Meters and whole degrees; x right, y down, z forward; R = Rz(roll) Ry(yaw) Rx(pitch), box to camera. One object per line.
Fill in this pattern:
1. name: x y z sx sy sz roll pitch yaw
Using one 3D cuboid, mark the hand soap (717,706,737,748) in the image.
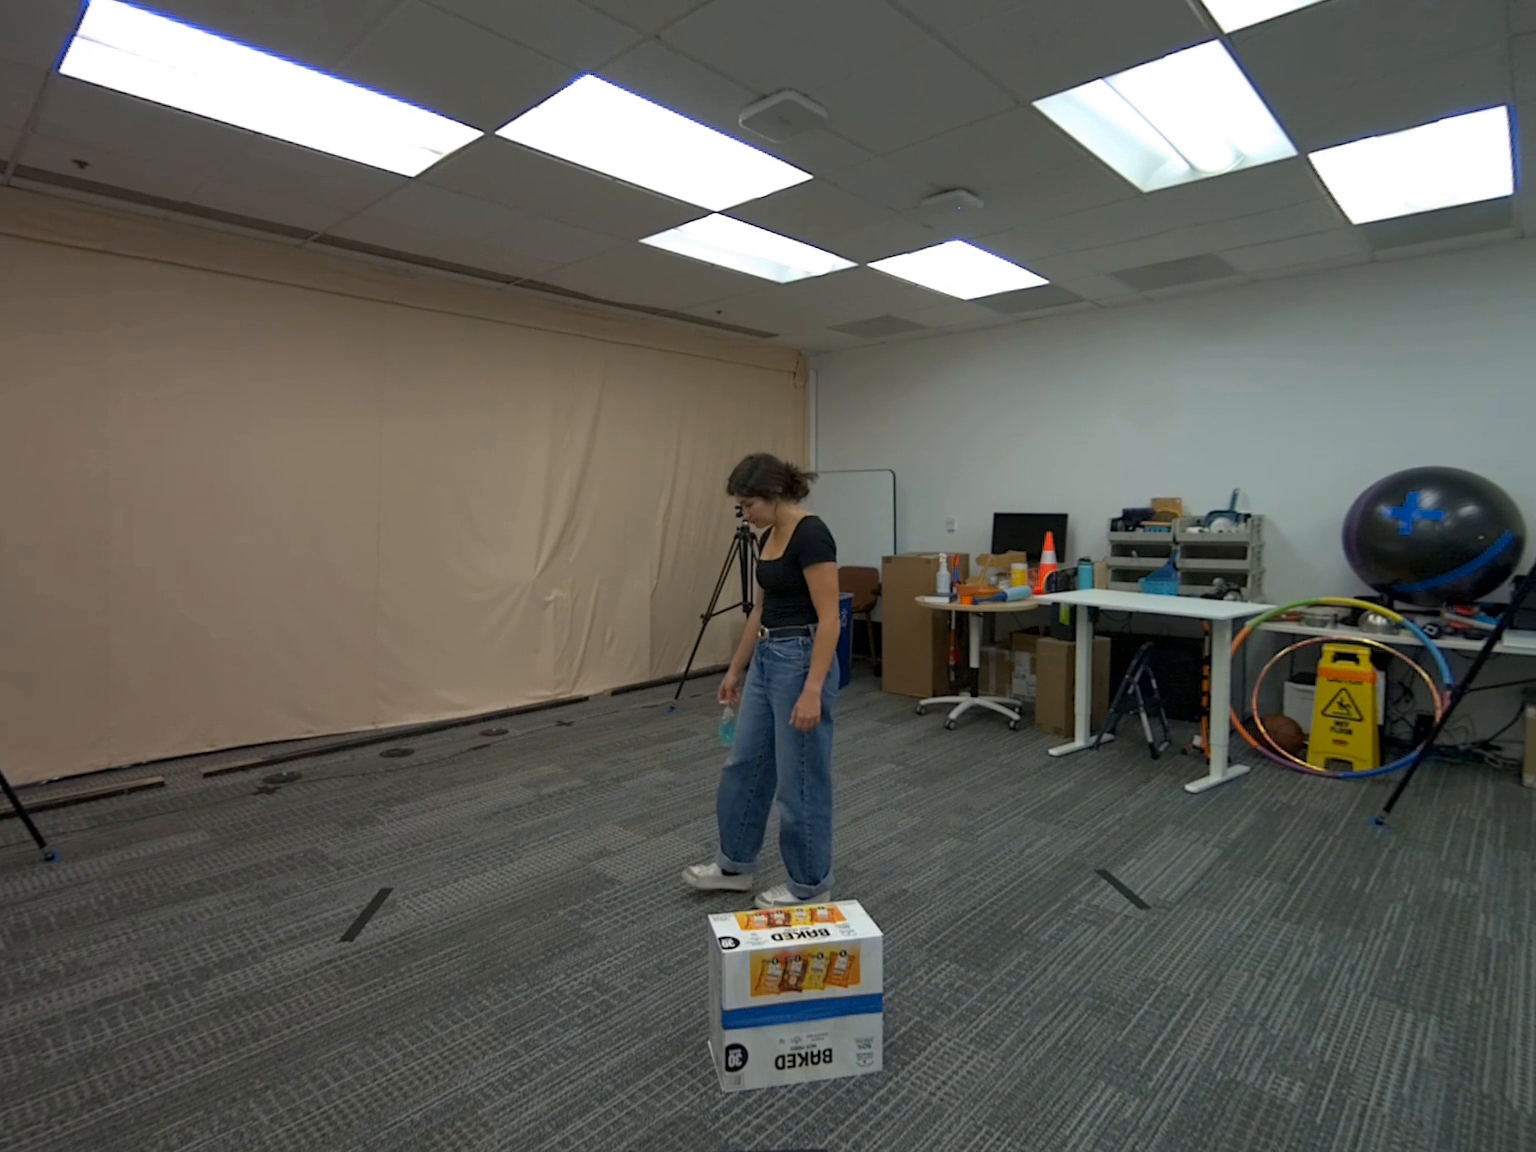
1. hand soap: -0.141 0.537 3.069 0.082 0.167 0.045 -8 10 -32
